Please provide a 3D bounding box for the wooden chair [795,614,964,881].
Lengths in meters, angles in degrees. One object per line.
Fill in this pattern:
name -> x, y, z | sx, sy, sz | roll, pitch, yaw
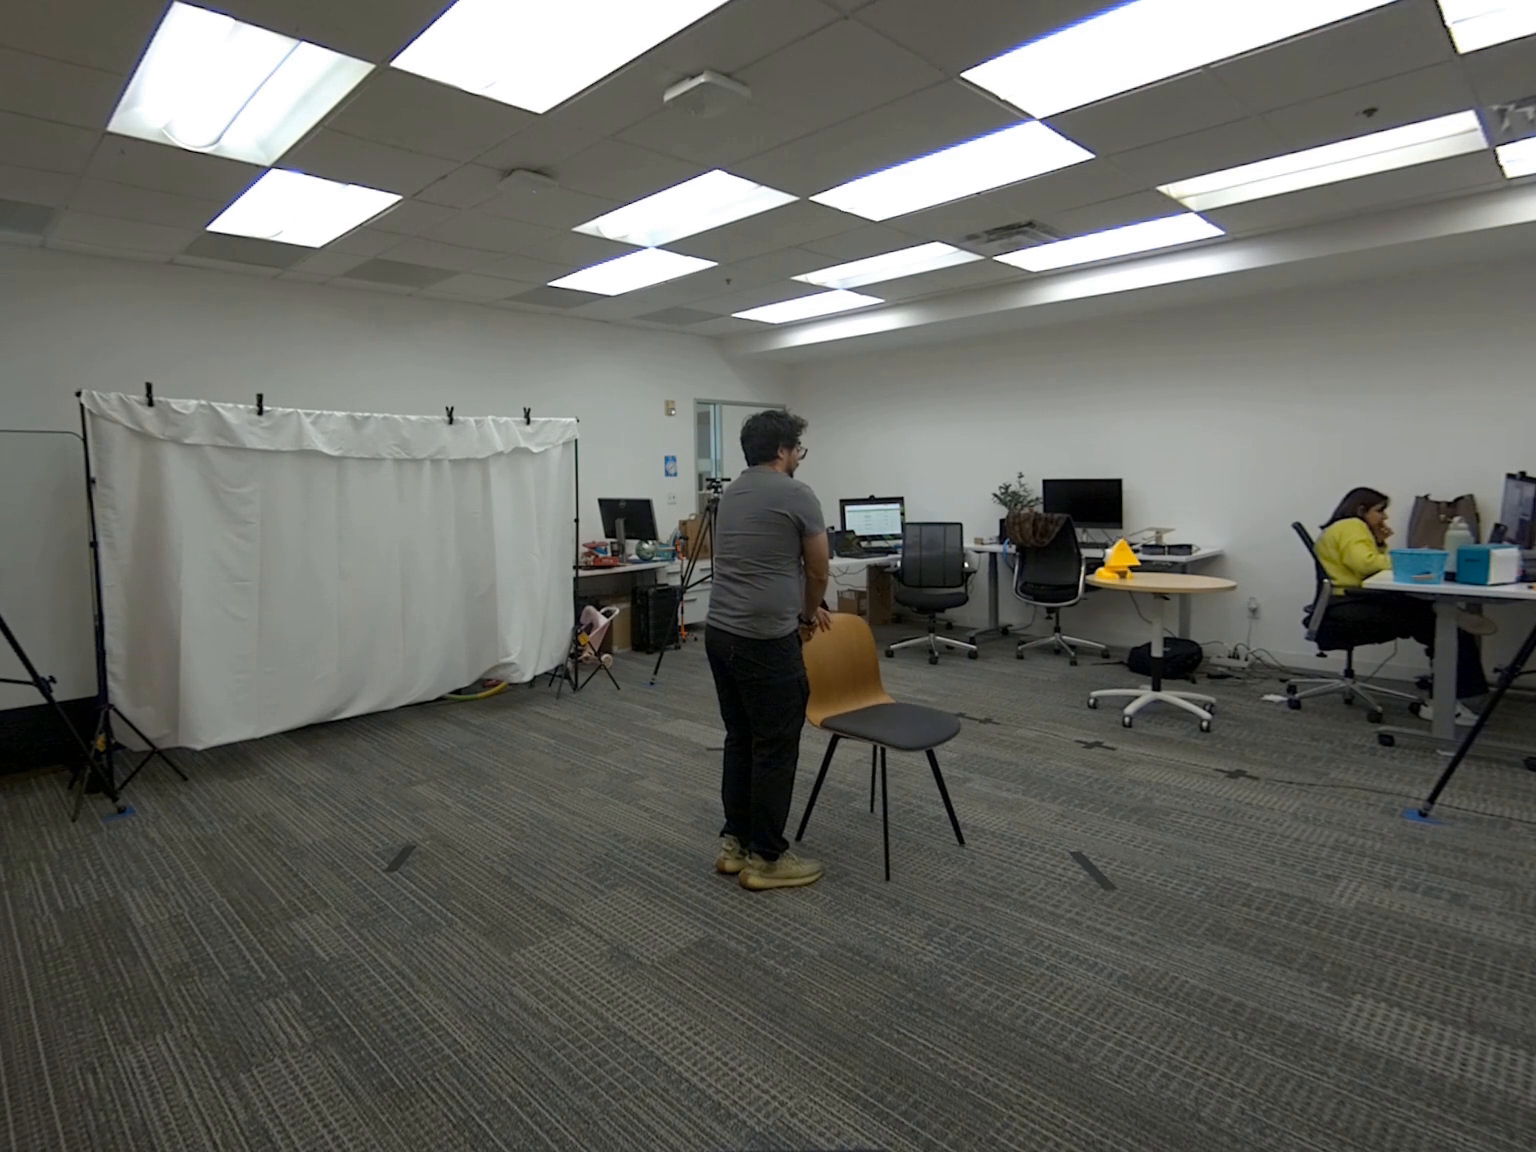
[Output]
wooden chair -> 0.418, 0.592, 3.226 | 0.465, 0.877, 0.537 | -5, 1, -42
